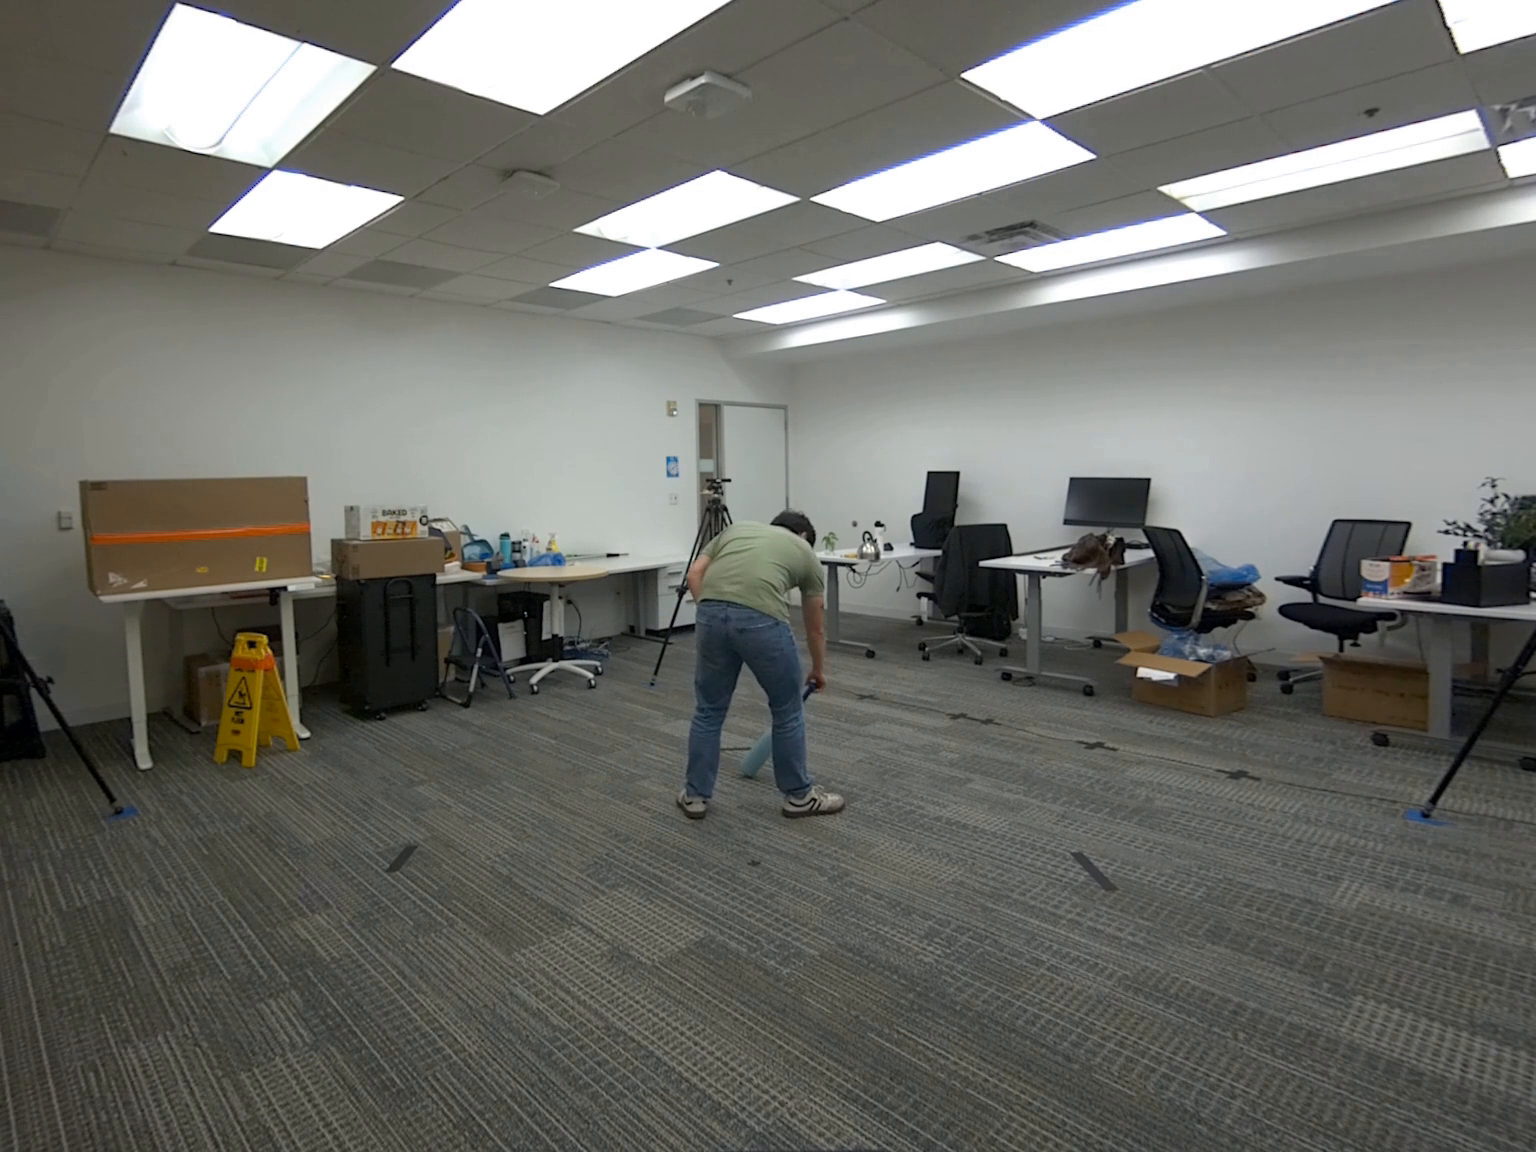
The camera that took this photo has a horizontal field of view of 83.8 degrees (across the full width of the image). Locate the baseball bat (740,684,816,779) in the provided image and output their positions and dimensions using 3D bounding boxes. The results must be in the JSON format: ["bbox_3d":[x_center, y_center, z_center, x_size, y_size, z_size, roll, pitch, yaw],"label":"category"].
[{"bbox_3d":[0.056,0.712,3.973,0.088,0.542,0.090,36,9,-9],"label":"baseball bat"}]
